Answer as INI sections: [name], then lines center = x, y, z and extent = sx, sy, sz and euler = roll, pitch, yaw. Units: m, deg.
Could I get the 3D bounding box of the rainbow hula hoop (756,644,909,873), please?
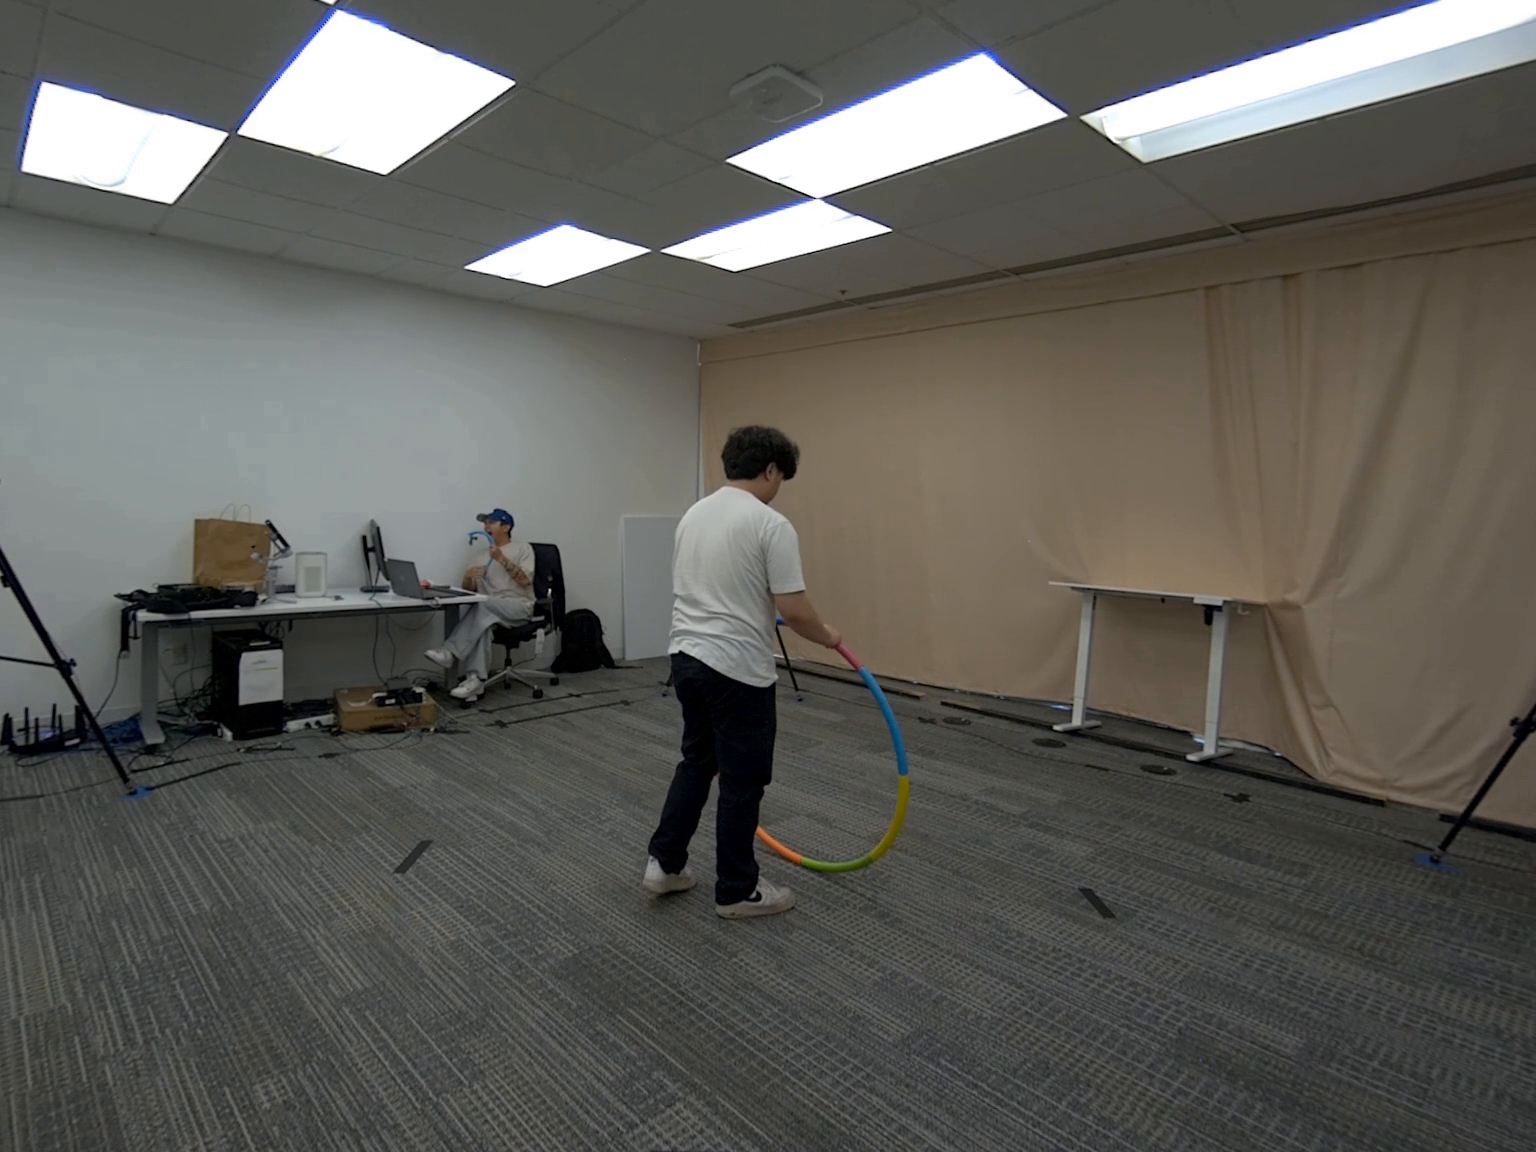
[rainbow hula hoop]
center = 0.089, 0.630, 3.155
extent = 0.050, 0.978, 1.011
euler = -12, 12, -43
